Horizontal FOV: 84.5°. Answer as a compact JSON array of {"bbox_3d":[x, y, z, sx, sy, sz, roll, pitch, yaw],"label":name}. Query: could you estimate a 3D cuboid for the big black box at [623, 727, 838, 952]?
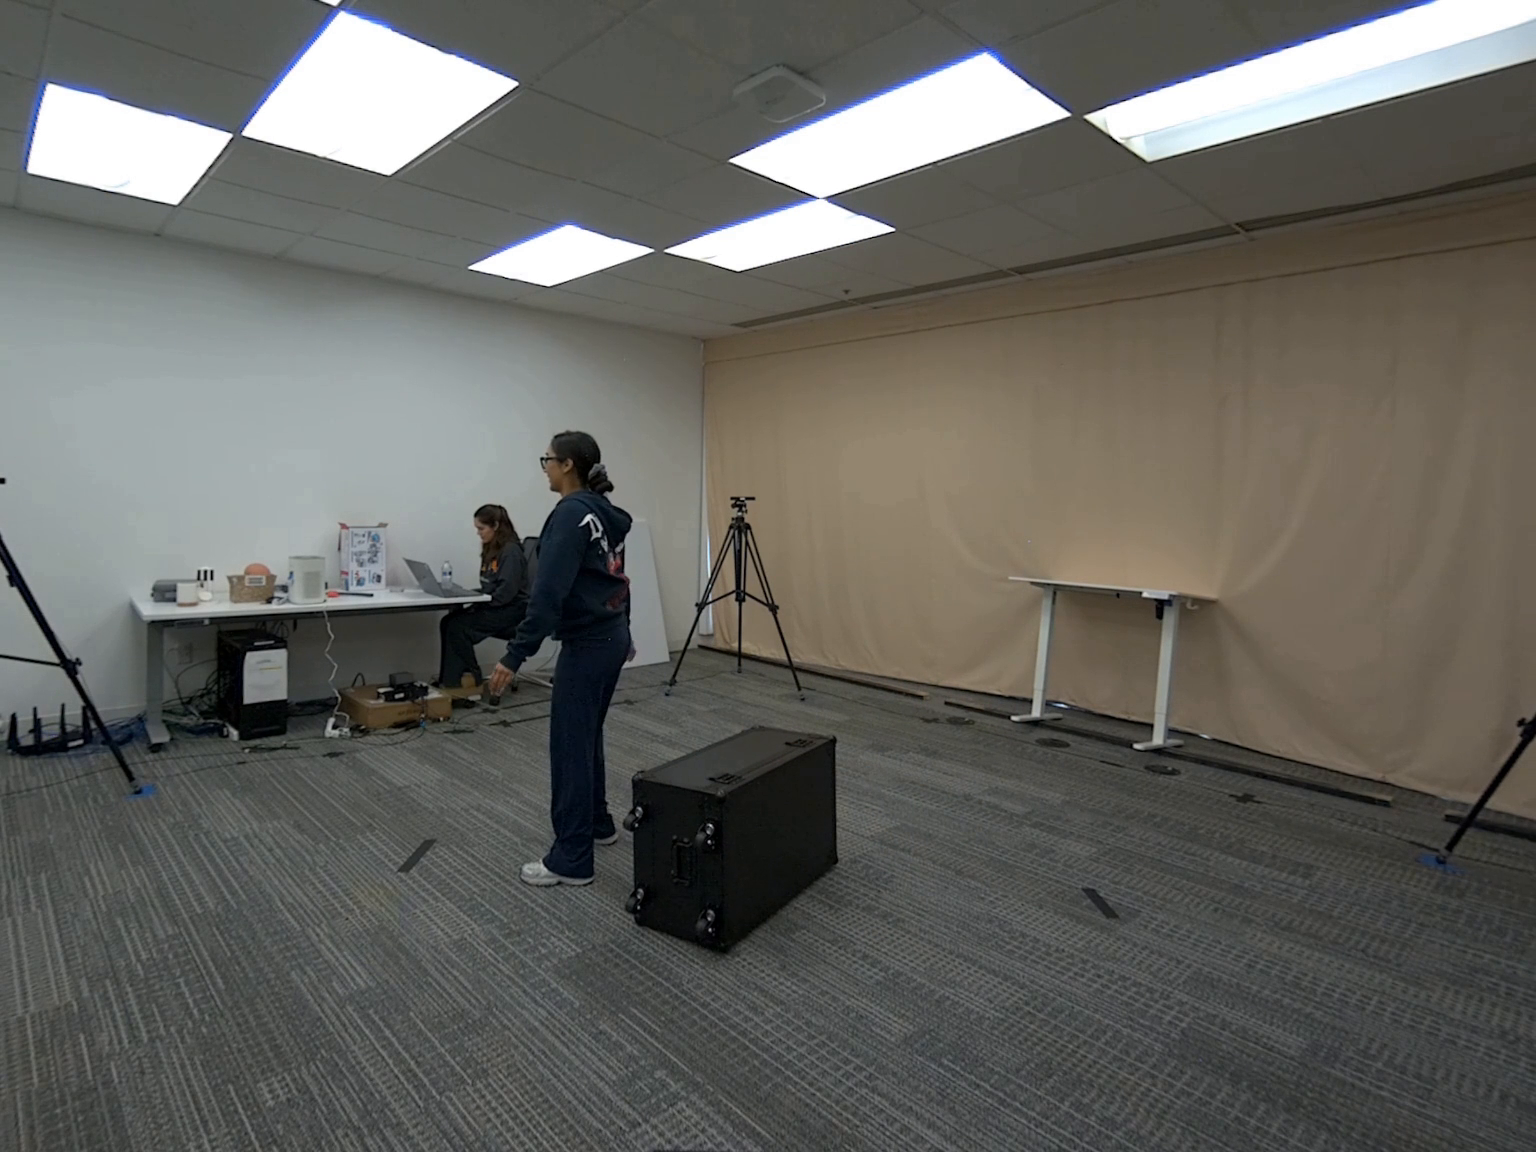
[{"bbox_3d":[-0.119,0.868,2.939,0.405,0.520,0.844,1,3,31],"label":"big black box"}]
